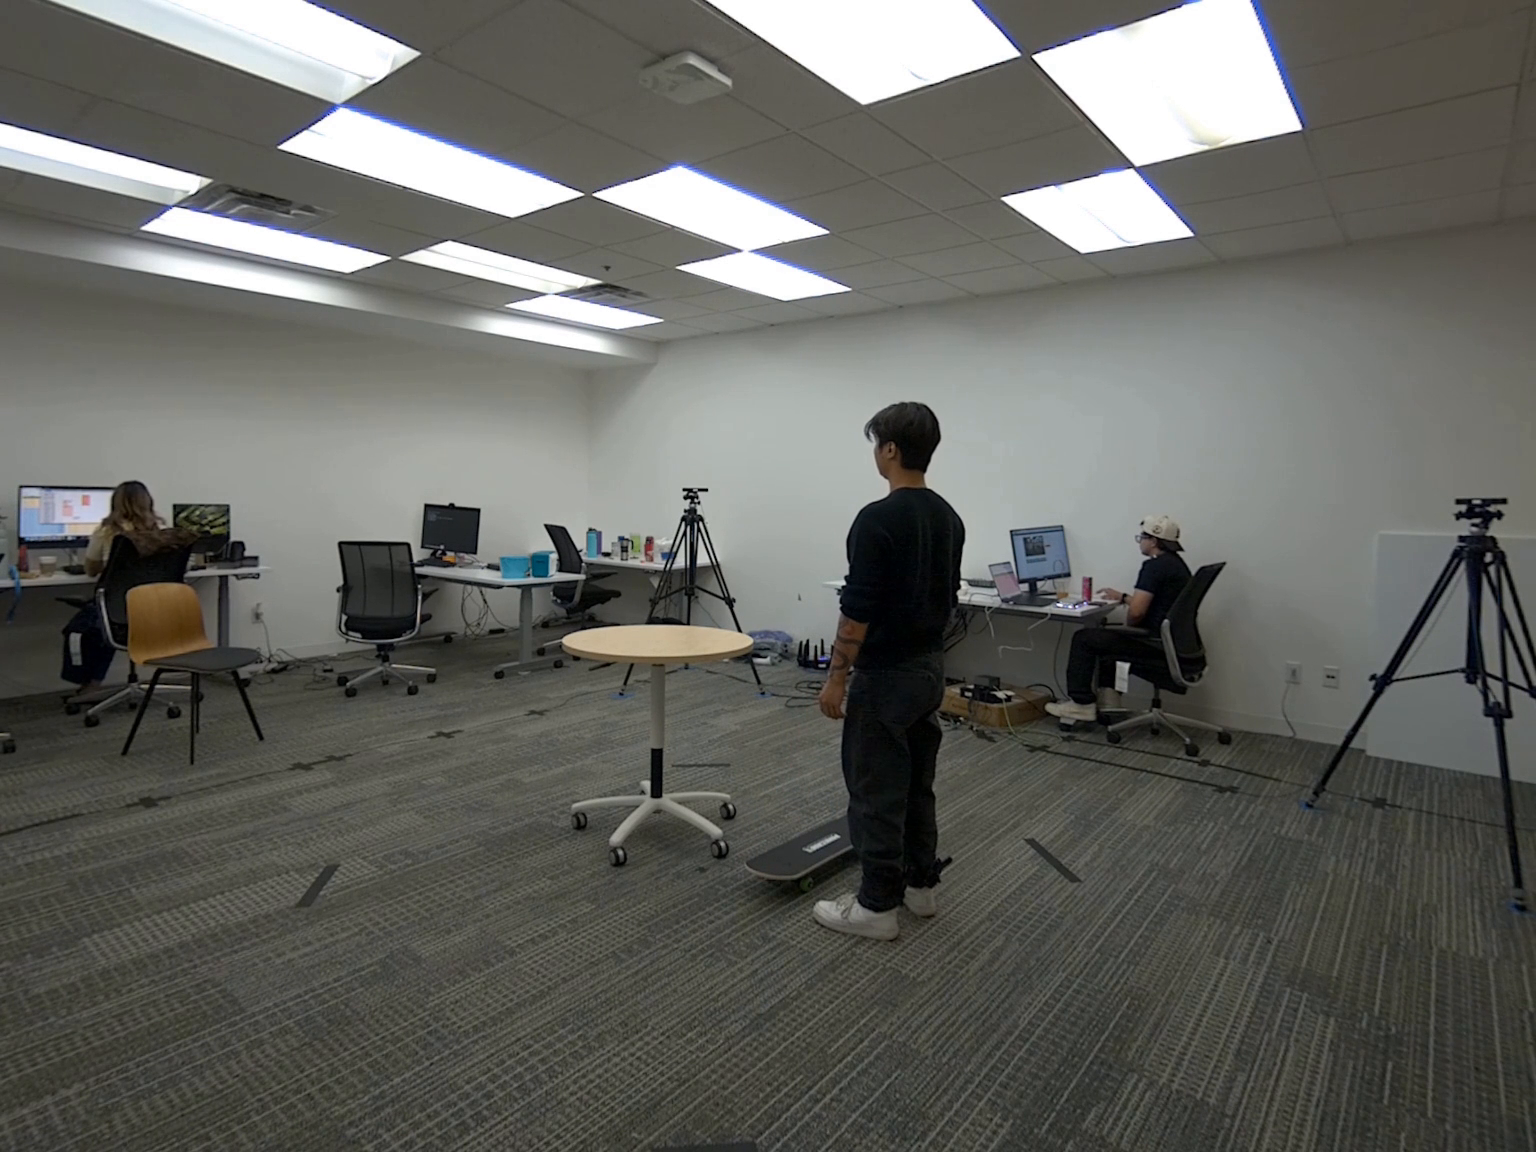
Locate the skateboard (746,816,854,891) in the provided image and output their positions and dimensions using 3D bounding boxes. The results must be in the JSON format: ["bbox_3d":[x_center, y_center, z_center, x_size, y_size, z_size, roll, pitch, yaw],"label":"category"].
[{"bbox_3d":[0.201,1.022,3.156,0.200,0.110,0.762,6,7,40],"label":"skateboard"}]
